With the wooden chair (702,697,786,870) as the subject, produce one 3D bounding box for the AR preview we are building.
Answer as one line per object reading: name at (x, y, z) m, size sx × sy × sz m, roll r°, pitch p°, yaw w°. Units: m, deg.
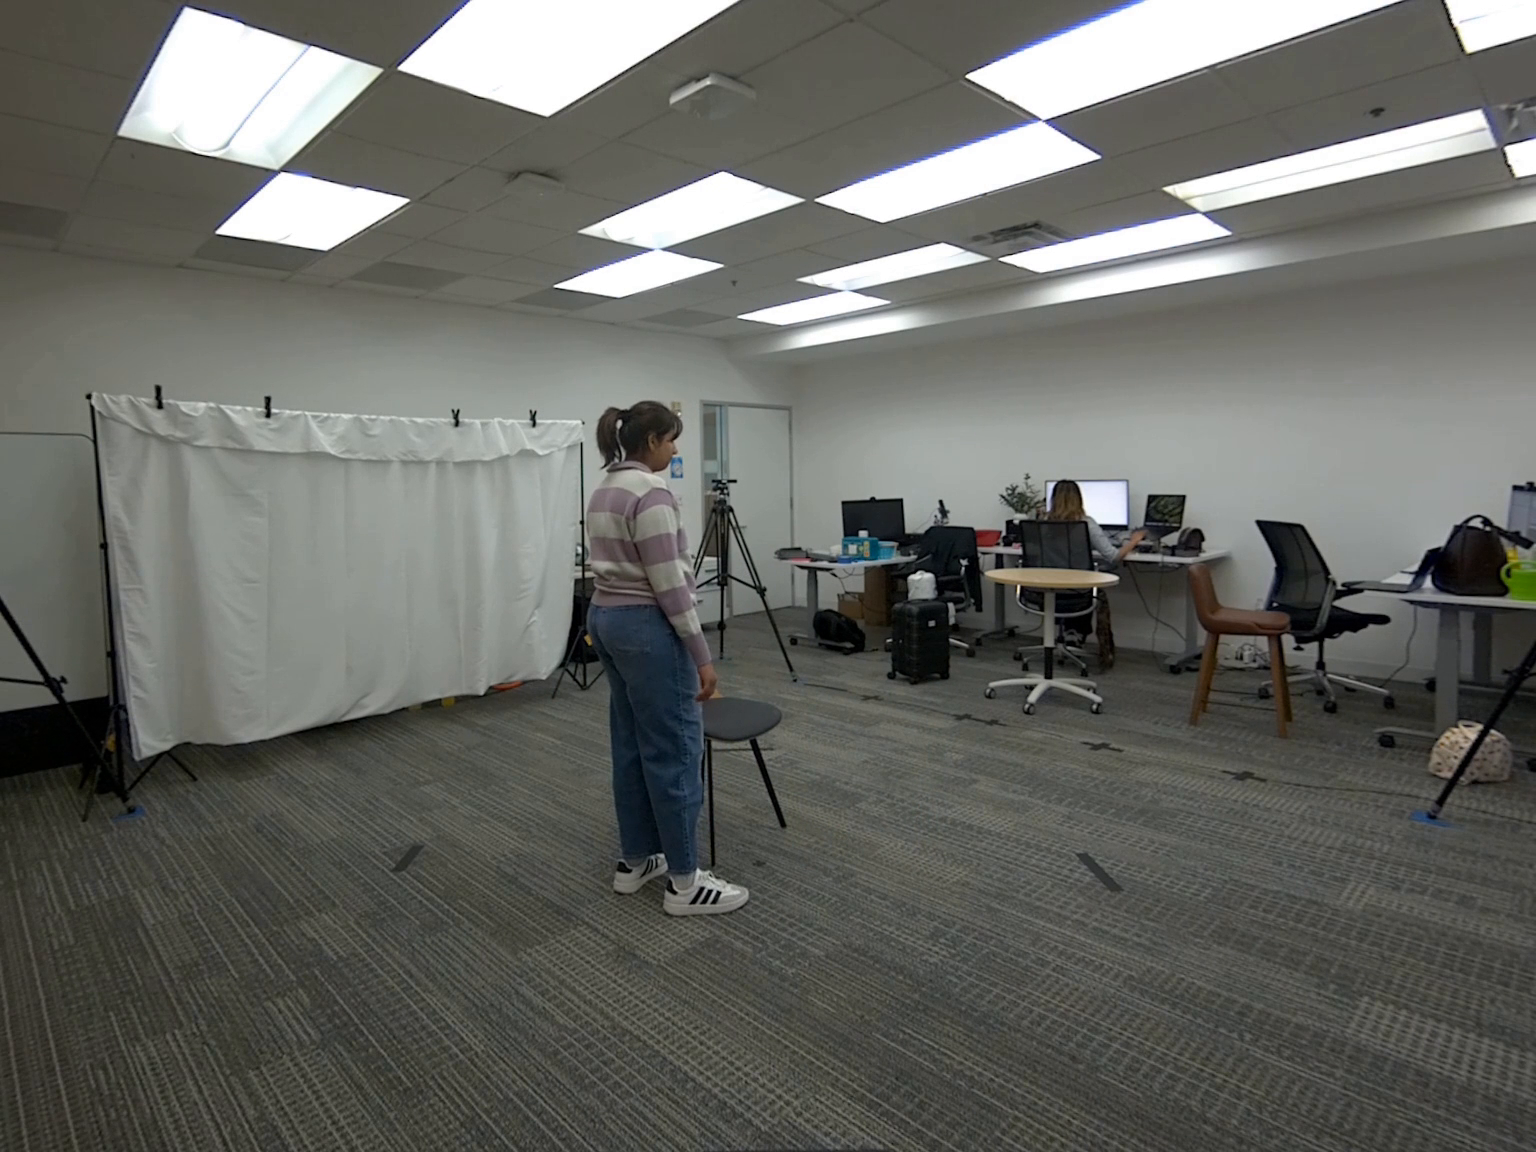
wooden chair at (-0.236, 0.593, 3.371) m, size 0.537 × 0.877 × 0.465 m, roll -3°, pitch 1°, yaw 39°
